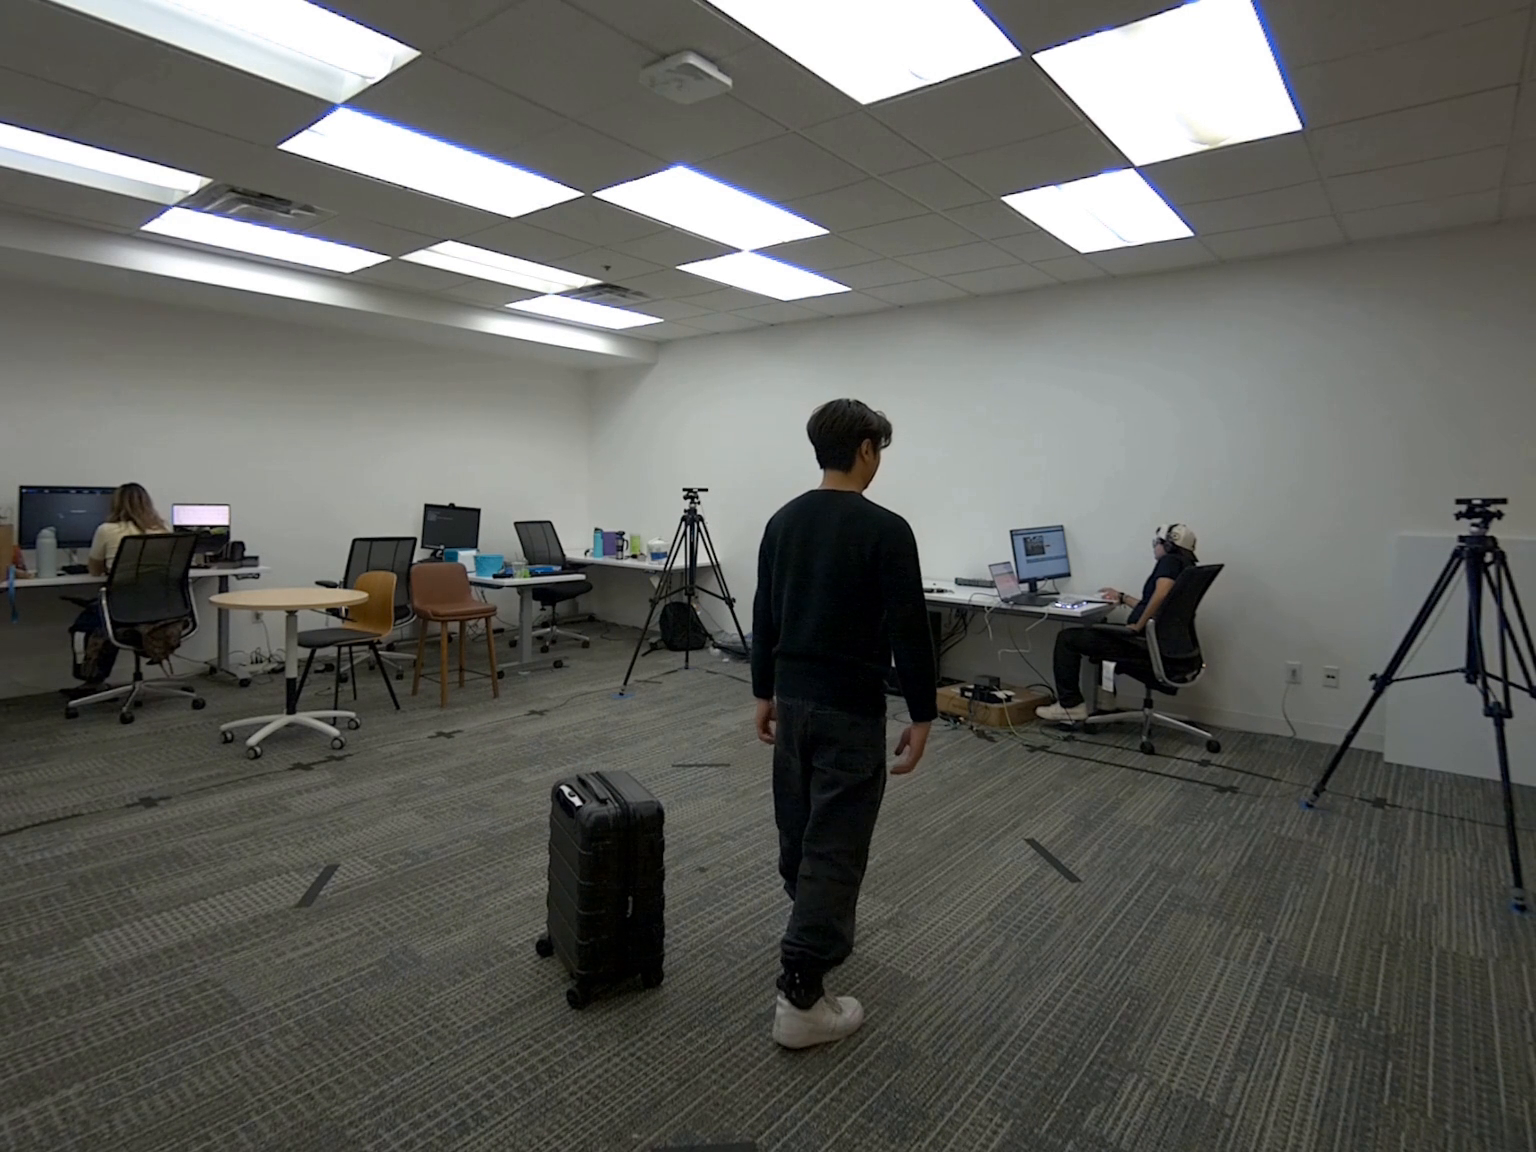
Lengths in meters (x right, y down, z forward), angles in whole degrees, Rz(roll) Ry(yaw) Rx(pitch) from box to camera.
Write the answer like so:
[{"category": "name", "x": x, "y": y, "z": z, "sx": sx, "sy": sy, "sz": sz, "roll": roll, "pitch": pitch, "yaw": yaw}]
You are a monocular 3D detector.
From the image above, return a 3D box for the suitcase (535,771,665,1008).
[{"category": "suitcase", "x": -0.477, "y": 0.856, "z": 2.434, "sx": 0.242, "sy": 0.548, "sz": 0.387, "roll": 1, "pitch": 4, "yaw": -30}]
